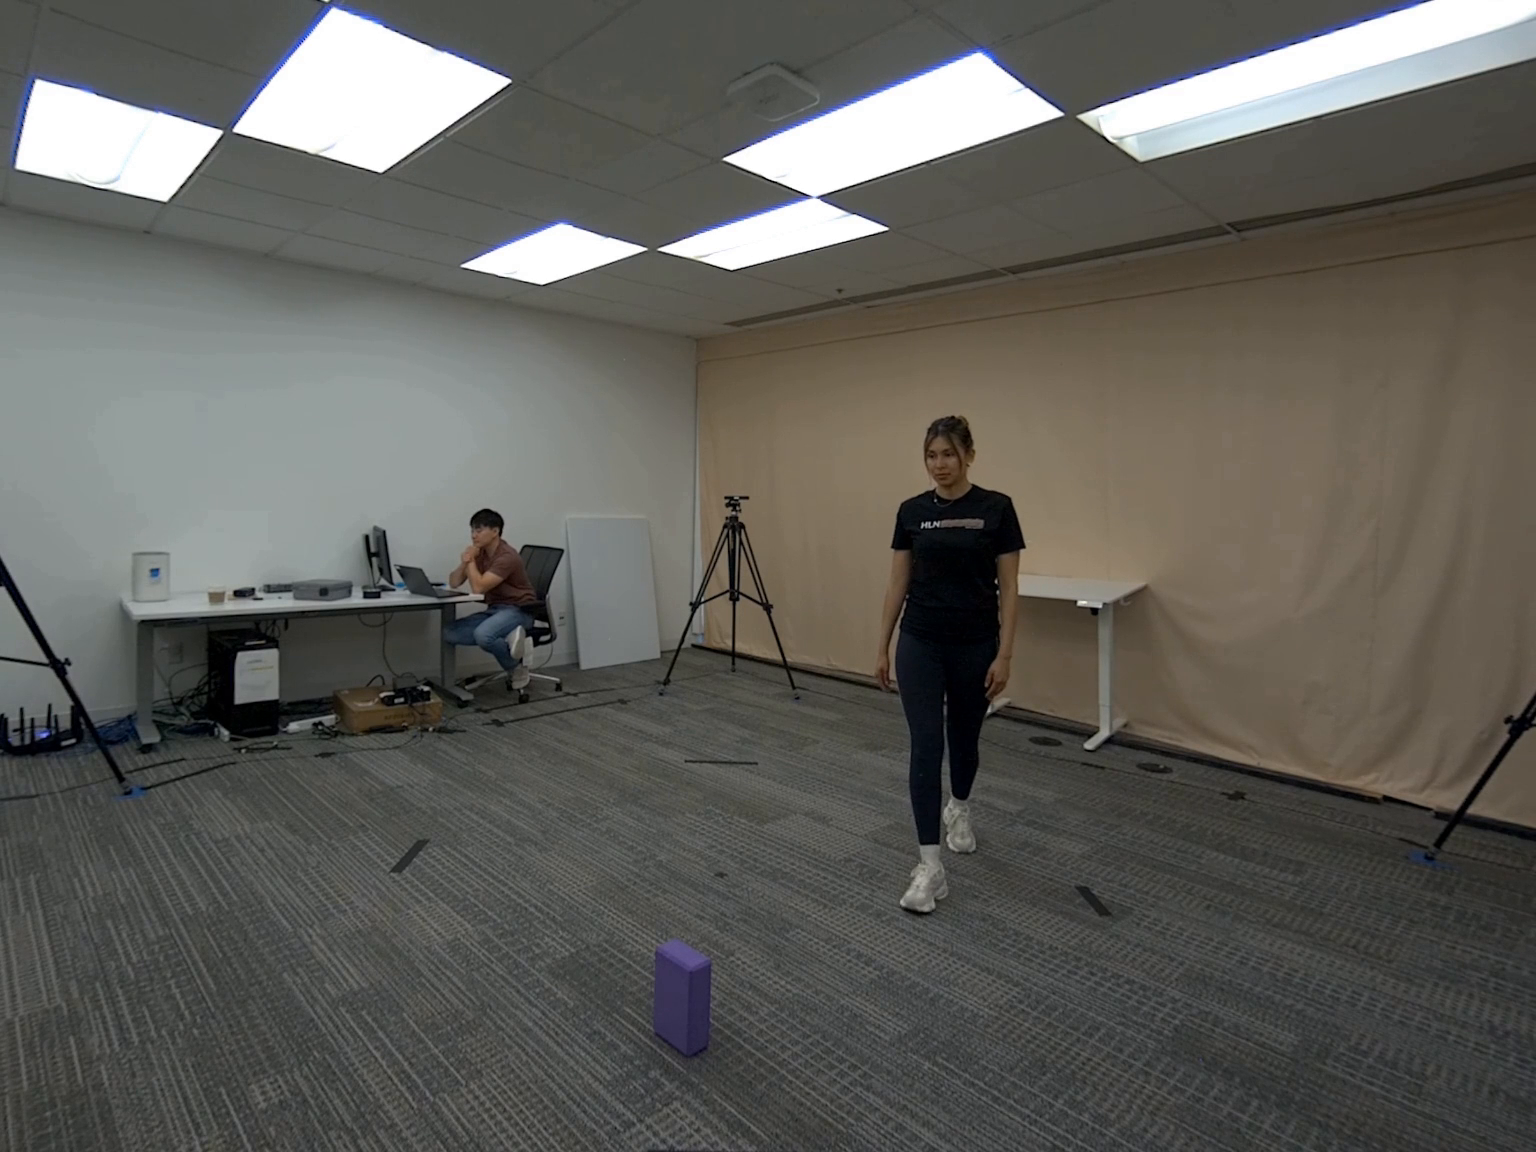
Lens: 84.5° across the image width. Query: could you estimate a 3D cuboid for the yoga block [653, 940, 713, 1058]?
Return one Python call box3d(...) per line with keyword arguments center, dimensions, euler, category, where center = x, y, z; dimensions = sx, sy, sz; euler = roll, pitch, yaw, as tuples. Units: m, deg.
box3d(center=(-0.224, 1.077, 2.145), dimensions=(0.153, 0.229, 0.074), euler=(3, 3, 42), category="yoga block")
